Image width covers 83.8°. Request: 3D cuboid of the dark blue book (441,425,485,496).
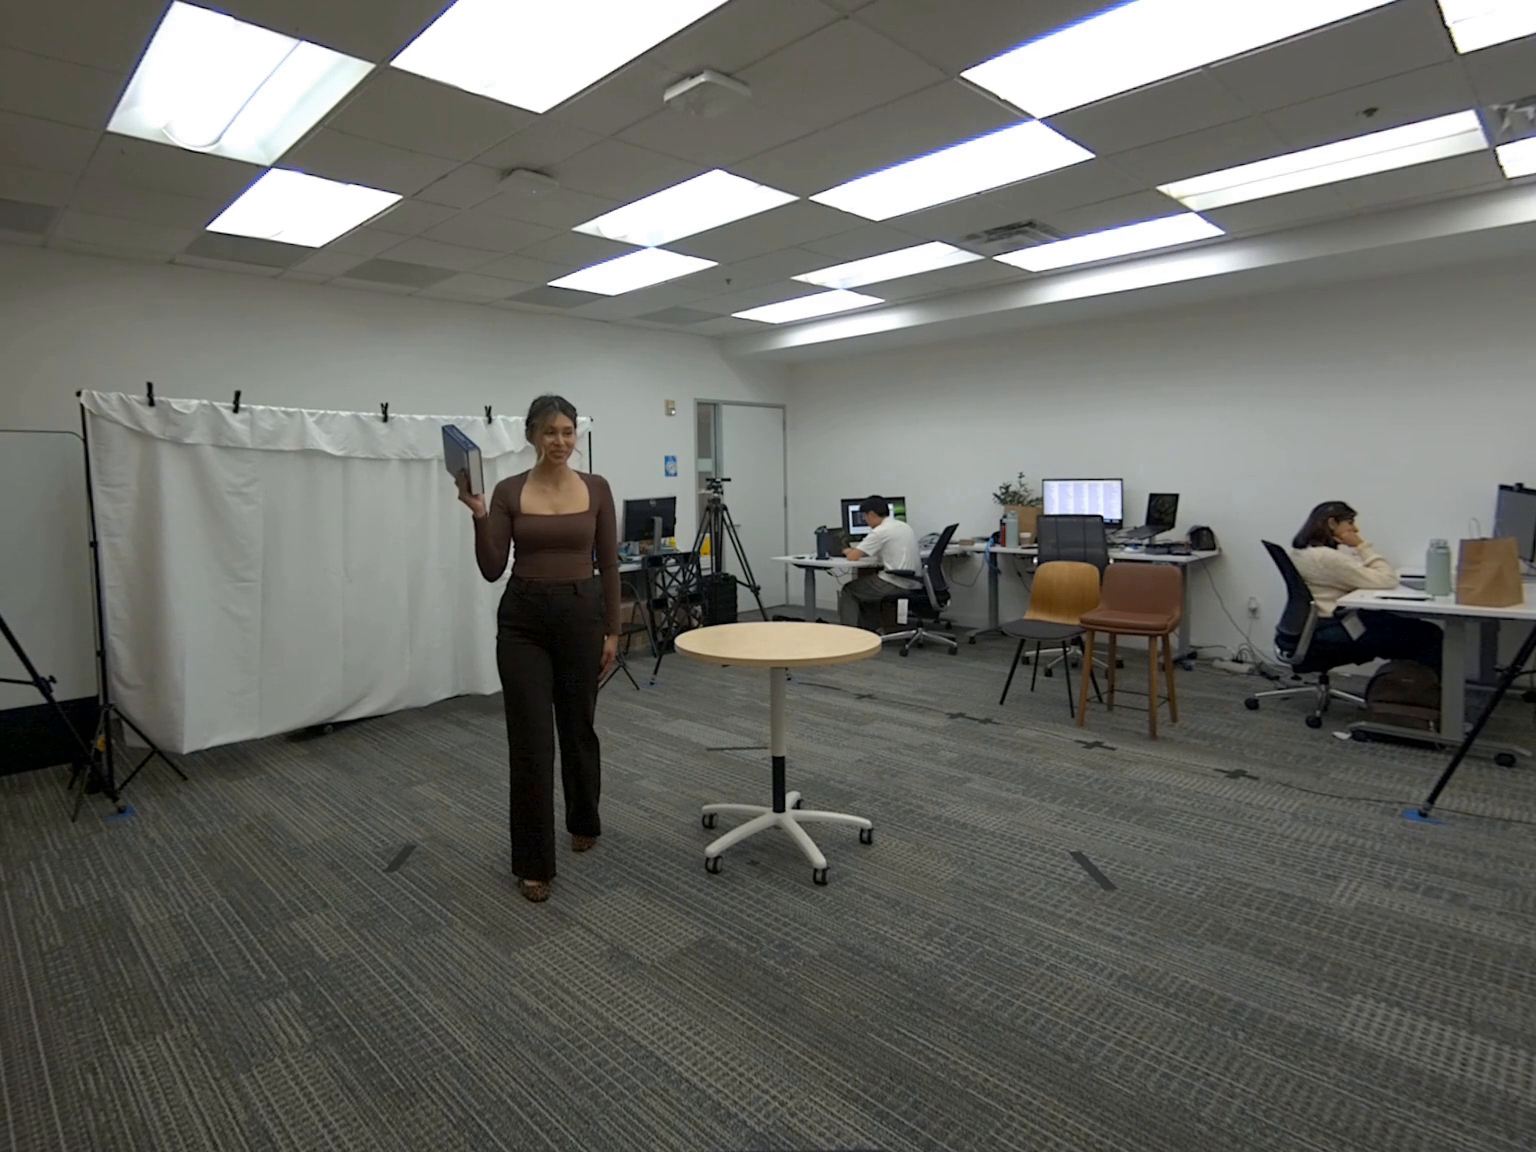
[{"bbox_3d":[-1.007,-0.385,2.823,0.044,0.160,0.255,-15,34,-33],"label":"dark blue book"}]
